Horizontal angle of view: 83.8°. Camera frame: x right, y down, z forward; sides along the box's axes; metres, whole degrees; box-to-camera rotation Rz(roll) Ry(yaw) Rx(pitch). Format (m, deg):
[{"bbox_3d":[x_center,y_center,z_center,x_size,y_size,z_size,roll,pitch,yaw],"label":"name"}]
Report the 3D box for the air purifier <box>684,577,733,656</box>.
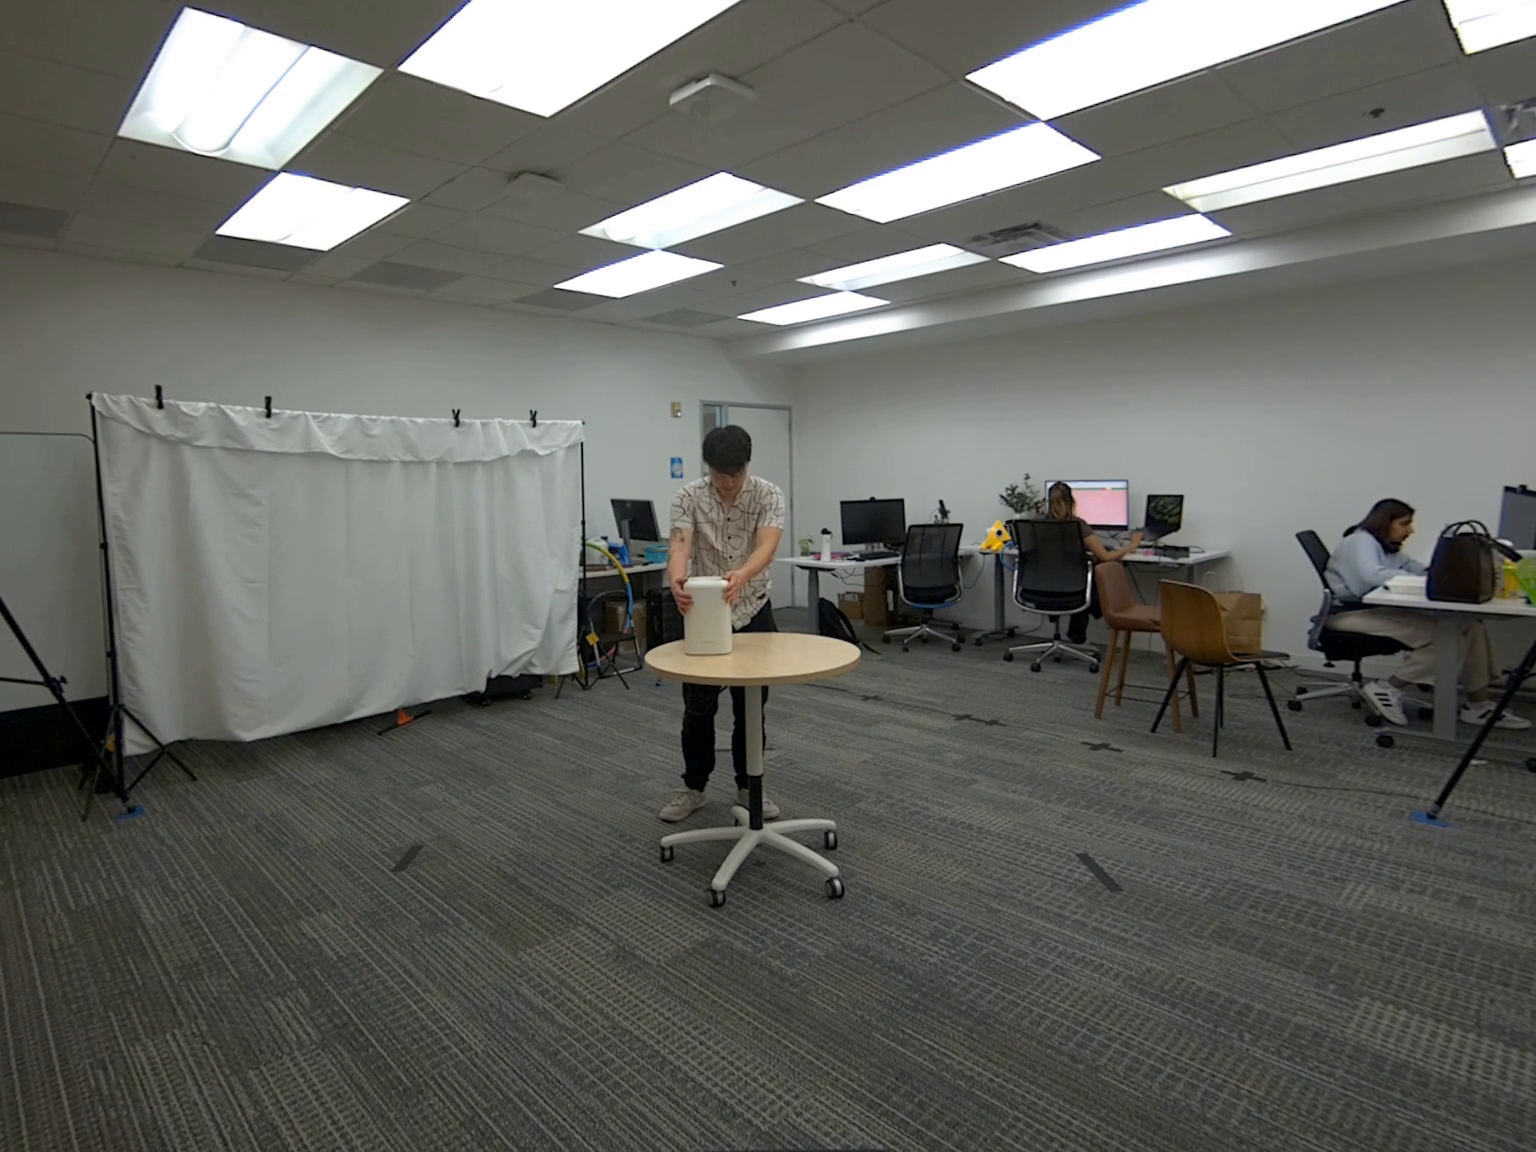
[{"bbox_3d":[-0.218,0.144,3.099,0.172,0.264,0.171,-3,5,5],"label":"air purifier"}]
